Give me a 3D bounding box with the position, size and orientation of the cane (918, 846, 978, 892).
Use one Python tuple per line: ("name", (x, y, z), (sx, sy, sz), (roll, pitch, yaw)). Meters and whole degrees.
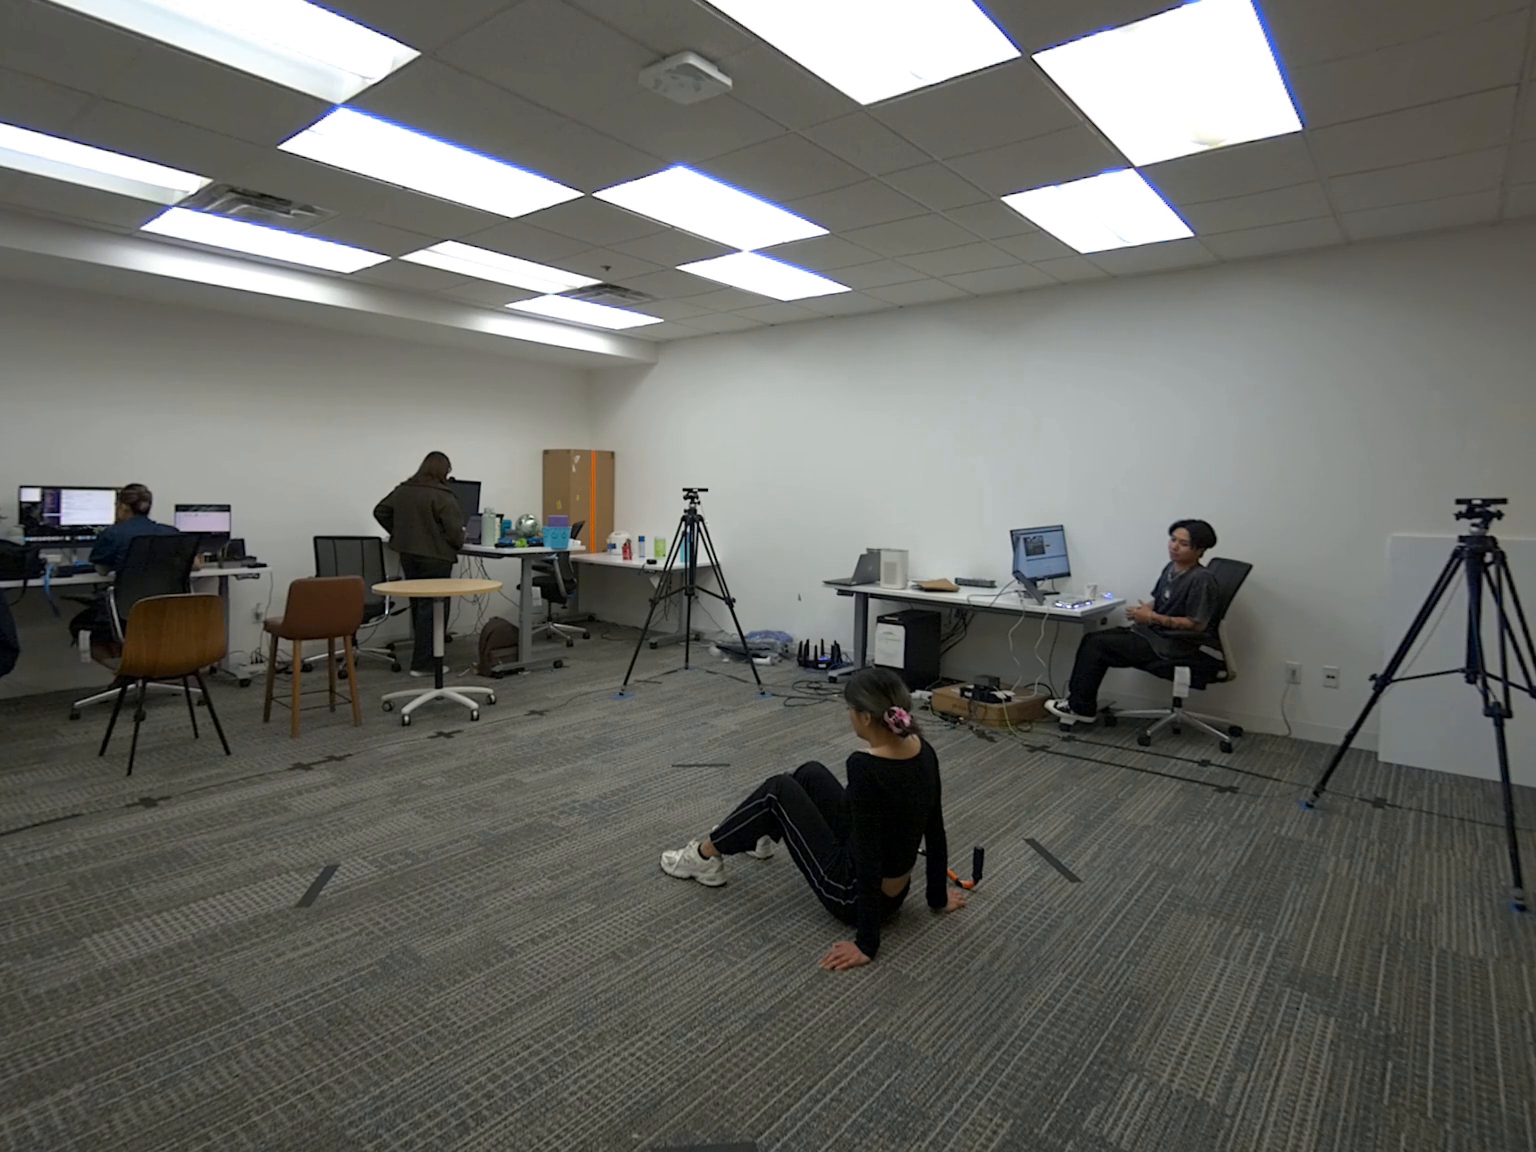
("cane", (0.377, 0.973, 3.263), (0.940, 0.205, 0.147), (9, 8, 41))
